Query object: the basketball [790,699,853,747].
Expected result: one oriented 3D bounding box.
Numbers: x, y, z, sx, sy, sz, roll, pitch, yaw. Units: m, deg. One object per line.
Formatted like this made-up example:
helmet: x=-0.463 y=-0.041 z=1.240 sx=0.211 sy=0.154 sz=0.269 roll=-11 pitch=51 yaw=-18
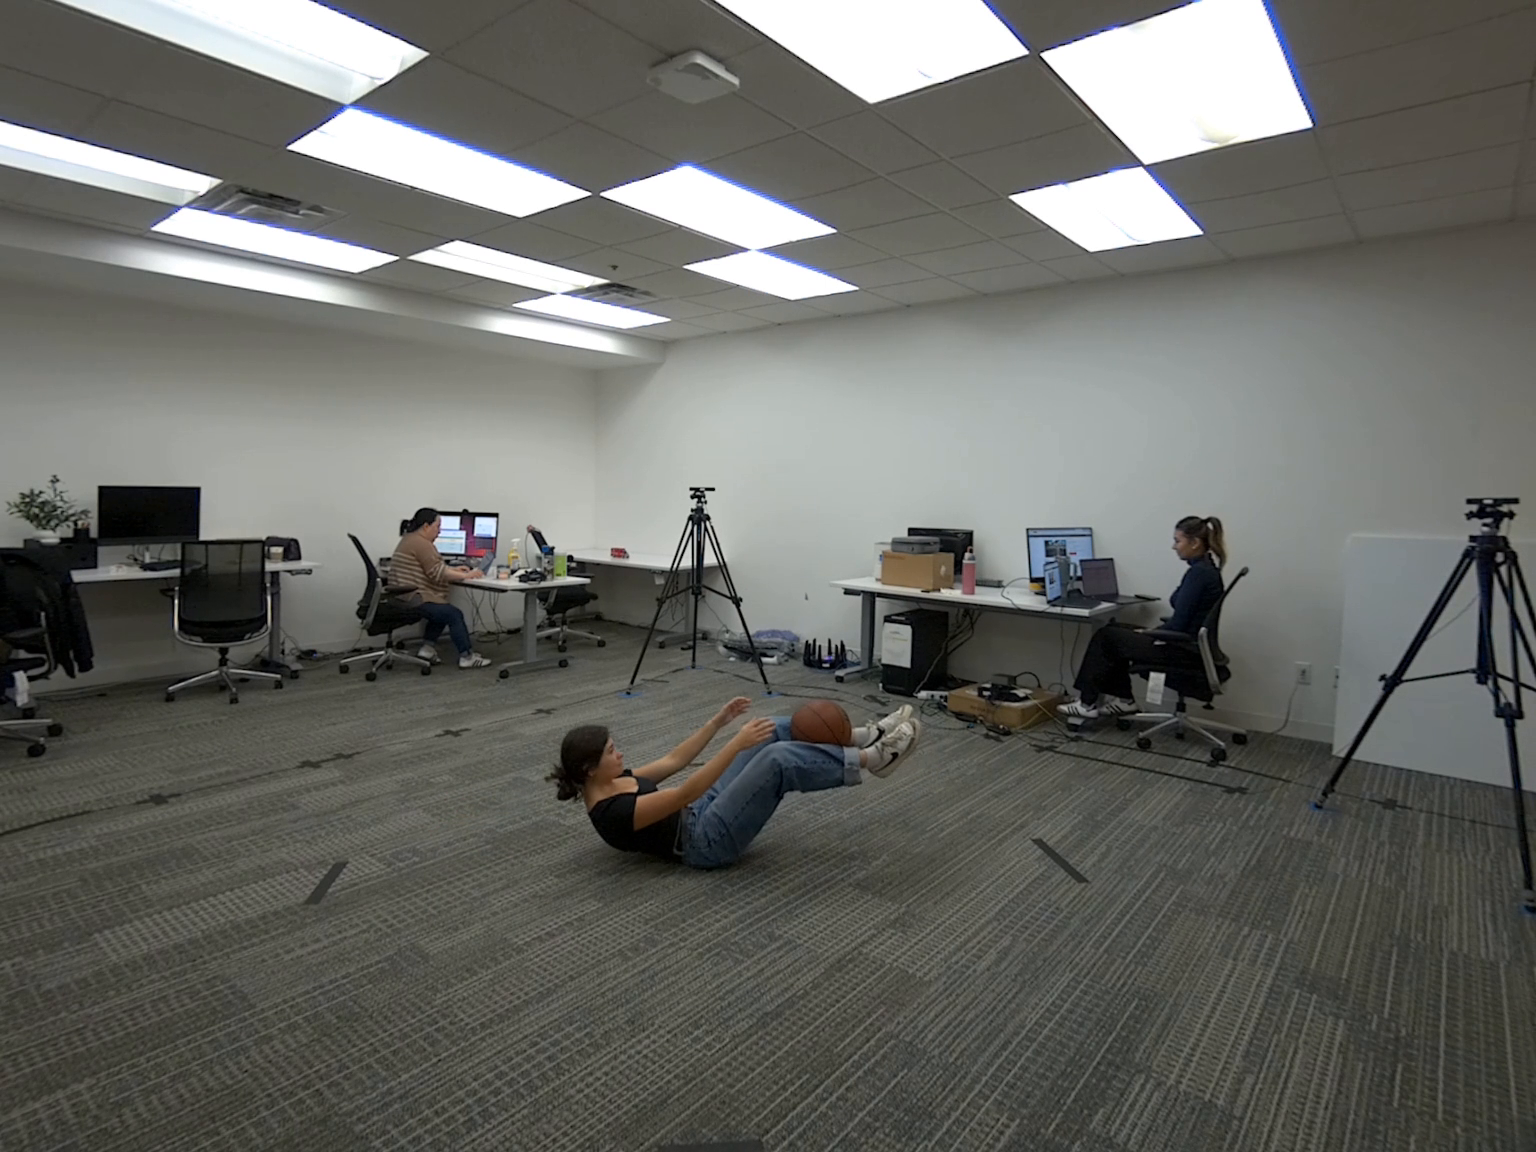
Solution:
basketball: x=0.194 y=0.590 z=3.265 sx=0.235 sy=0.235 sz=0.237 roll=1 pitch=4 yaw=-2
